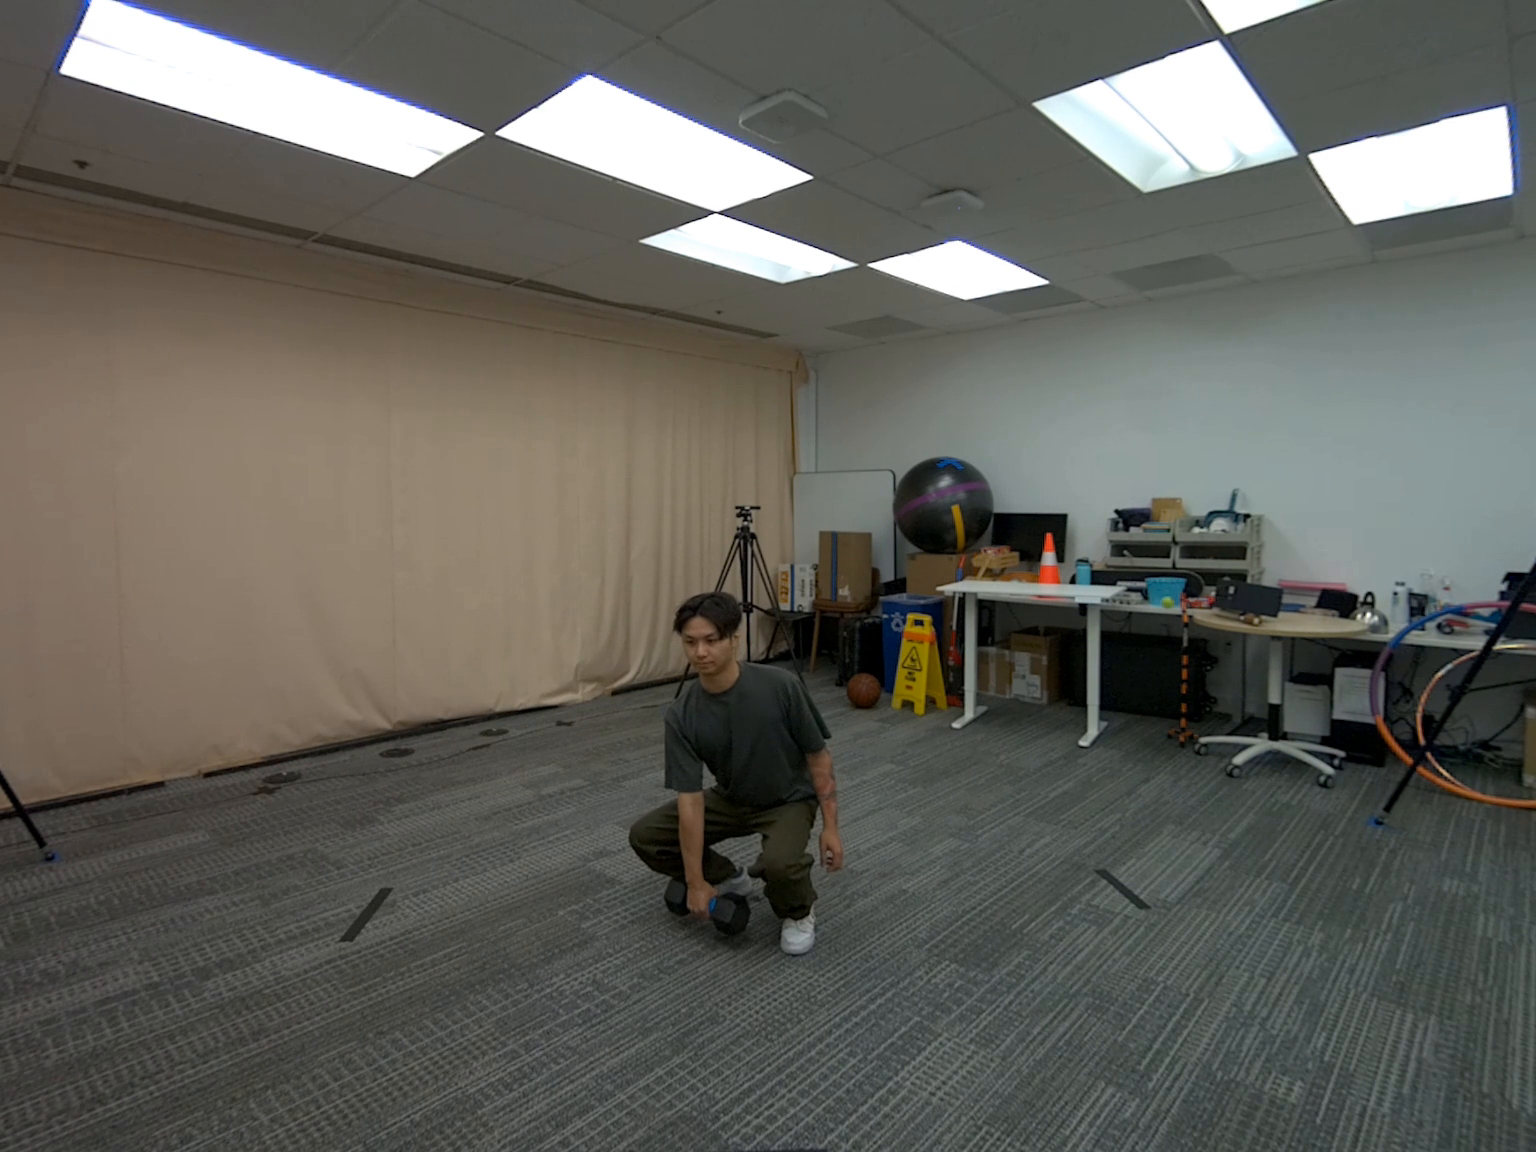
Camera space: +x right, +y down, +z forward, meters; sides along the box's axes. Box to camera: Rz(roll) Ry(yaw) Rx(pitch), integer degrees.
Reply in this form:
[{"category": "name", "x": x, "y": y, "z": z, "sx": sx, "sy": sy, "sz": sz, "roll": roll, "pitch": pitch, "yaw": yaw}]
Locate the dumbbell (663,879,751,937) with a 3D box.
[{"category": "dumbbell", "x": -0.198, "y": 1.059, "z": 2.715, "sx": 0.303, "sy": 0.121, "sz": 0.107, "roll": -1, "pitch": 26, "yaw": 39}]
